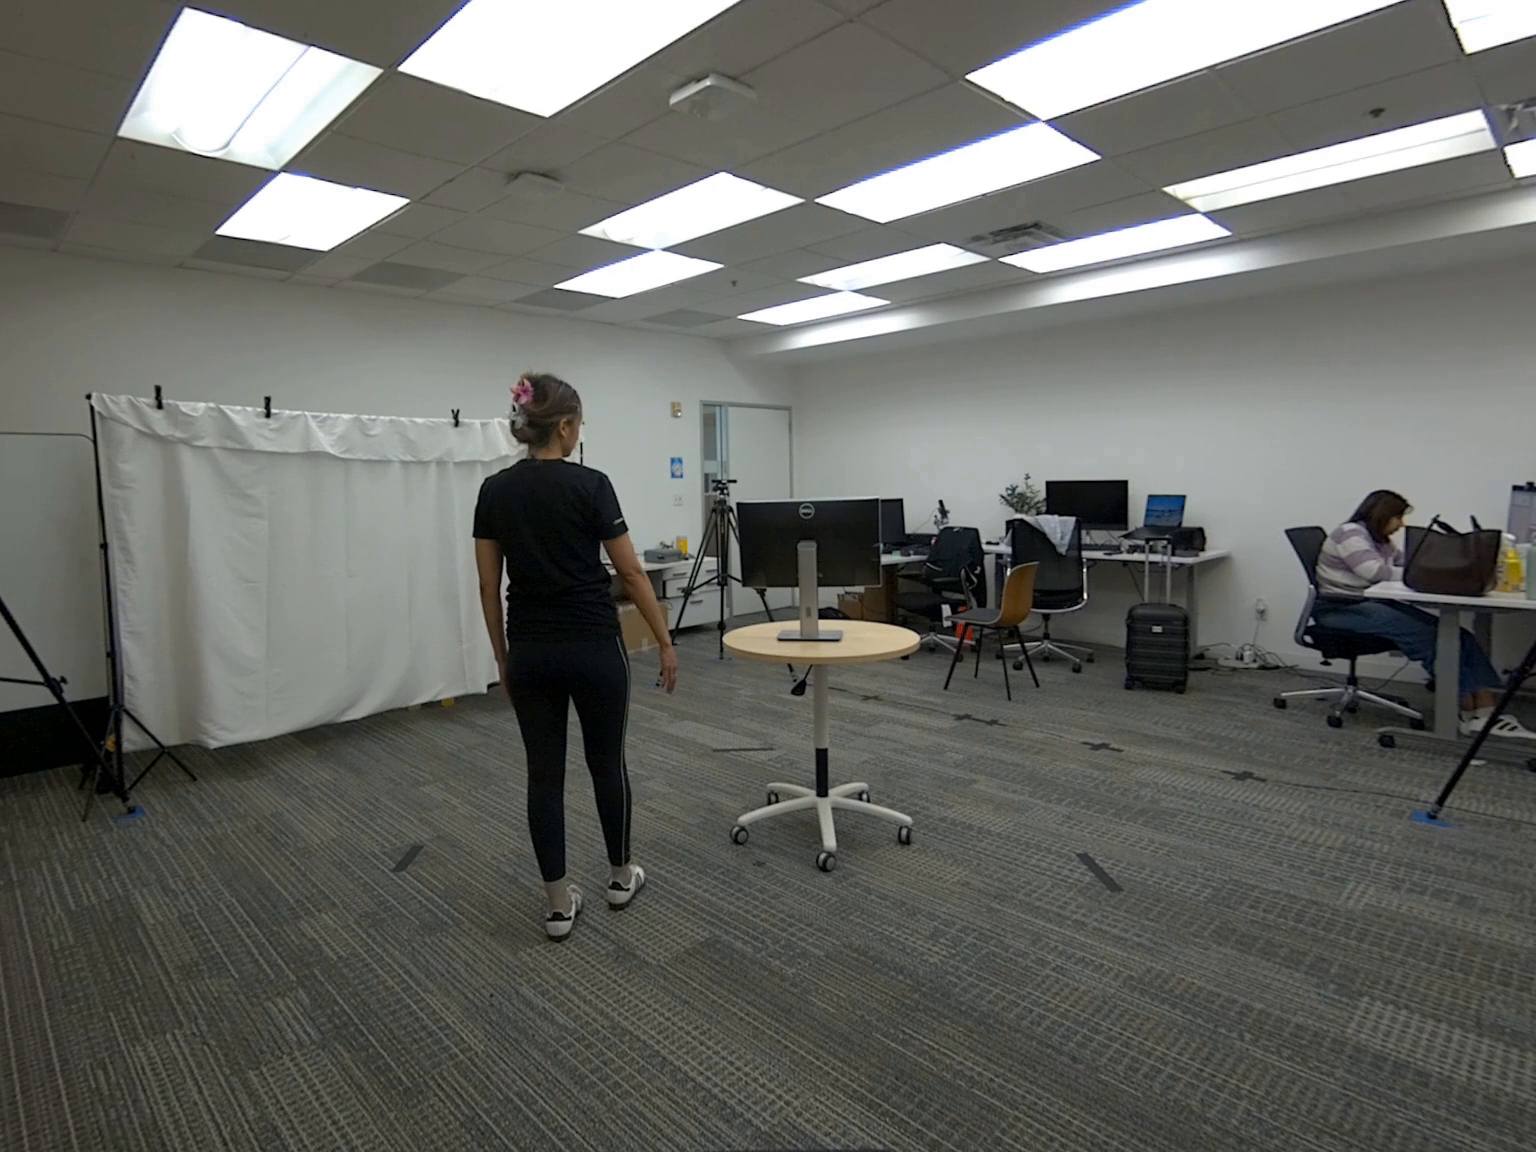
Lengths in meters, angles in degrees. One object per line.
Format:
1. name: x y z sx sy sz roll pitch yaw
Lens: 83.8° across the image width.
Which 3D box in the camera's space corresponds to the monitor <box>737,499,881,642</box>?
1. monitor: 0.158 -0.024 3.332 0.543 0.521 0.186 -1 3 8
